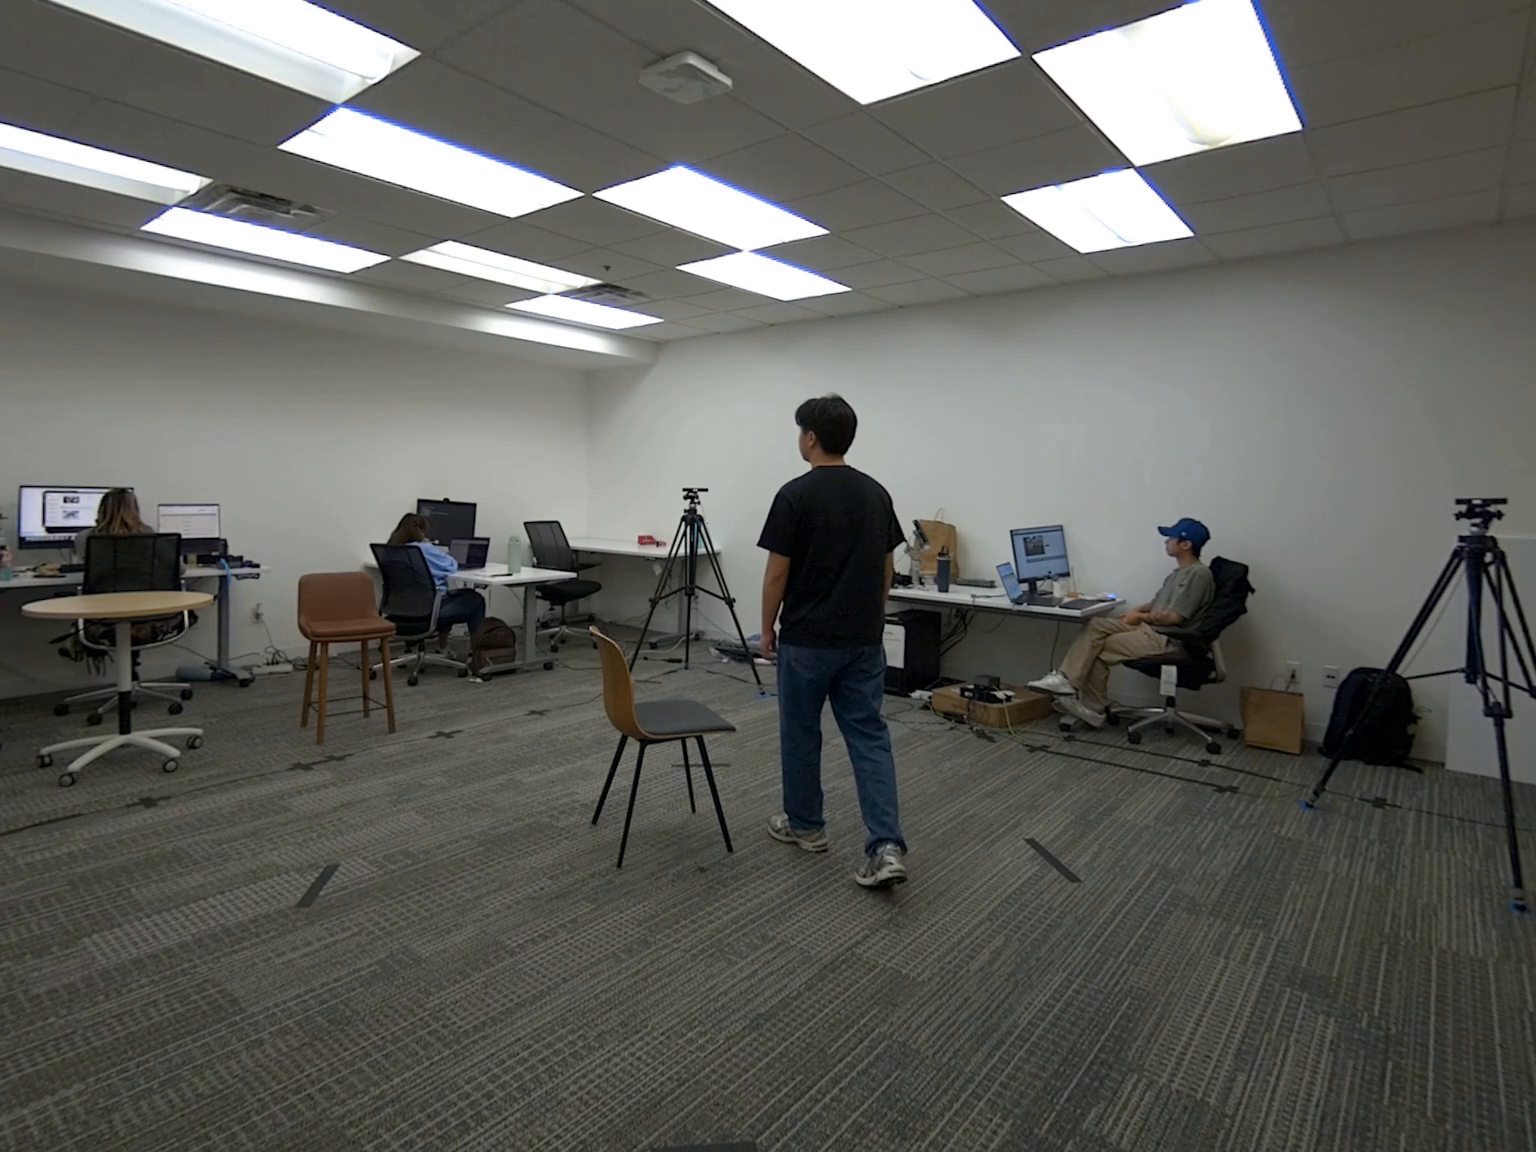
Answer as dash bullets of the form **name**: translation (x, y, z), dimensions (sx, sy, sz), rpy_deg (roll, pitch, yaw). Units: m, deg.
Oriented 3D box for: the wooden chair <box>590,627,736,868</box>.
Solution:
- **wooden chair**: translation (-0.428, 0.614, 3.364), dimensions (0.513, 0.874, 0.490), rpy_deg (-4, 5, -22)
